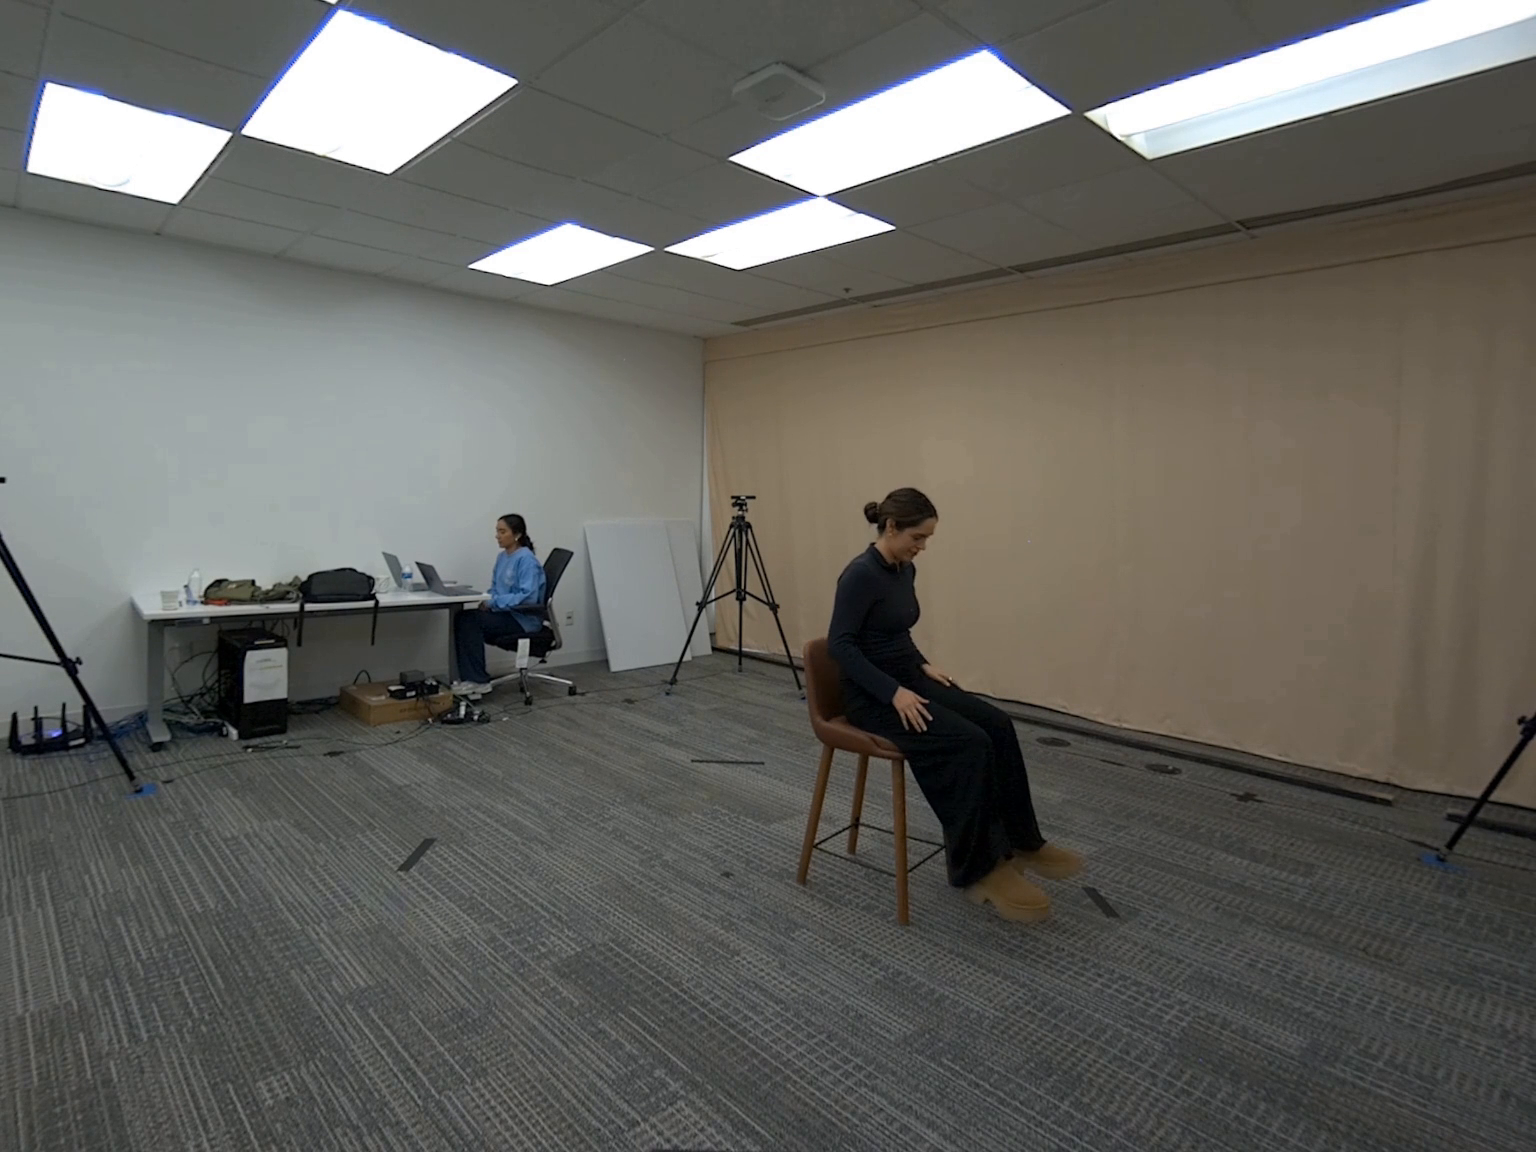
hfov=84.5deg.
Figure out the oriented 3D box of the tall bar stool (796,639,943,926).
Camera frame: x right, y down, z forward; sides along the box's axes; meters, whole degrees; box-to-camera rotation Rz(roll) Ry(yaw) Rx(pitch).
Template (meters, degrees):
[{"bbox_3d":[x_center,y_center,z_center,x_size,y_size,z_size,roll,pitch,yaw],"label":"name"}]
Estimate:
[{"bbox_3d":[0.391,0.688,3.036,0.479,0.888,0.446,3,3,38],"label":"tall bar stool"}]
